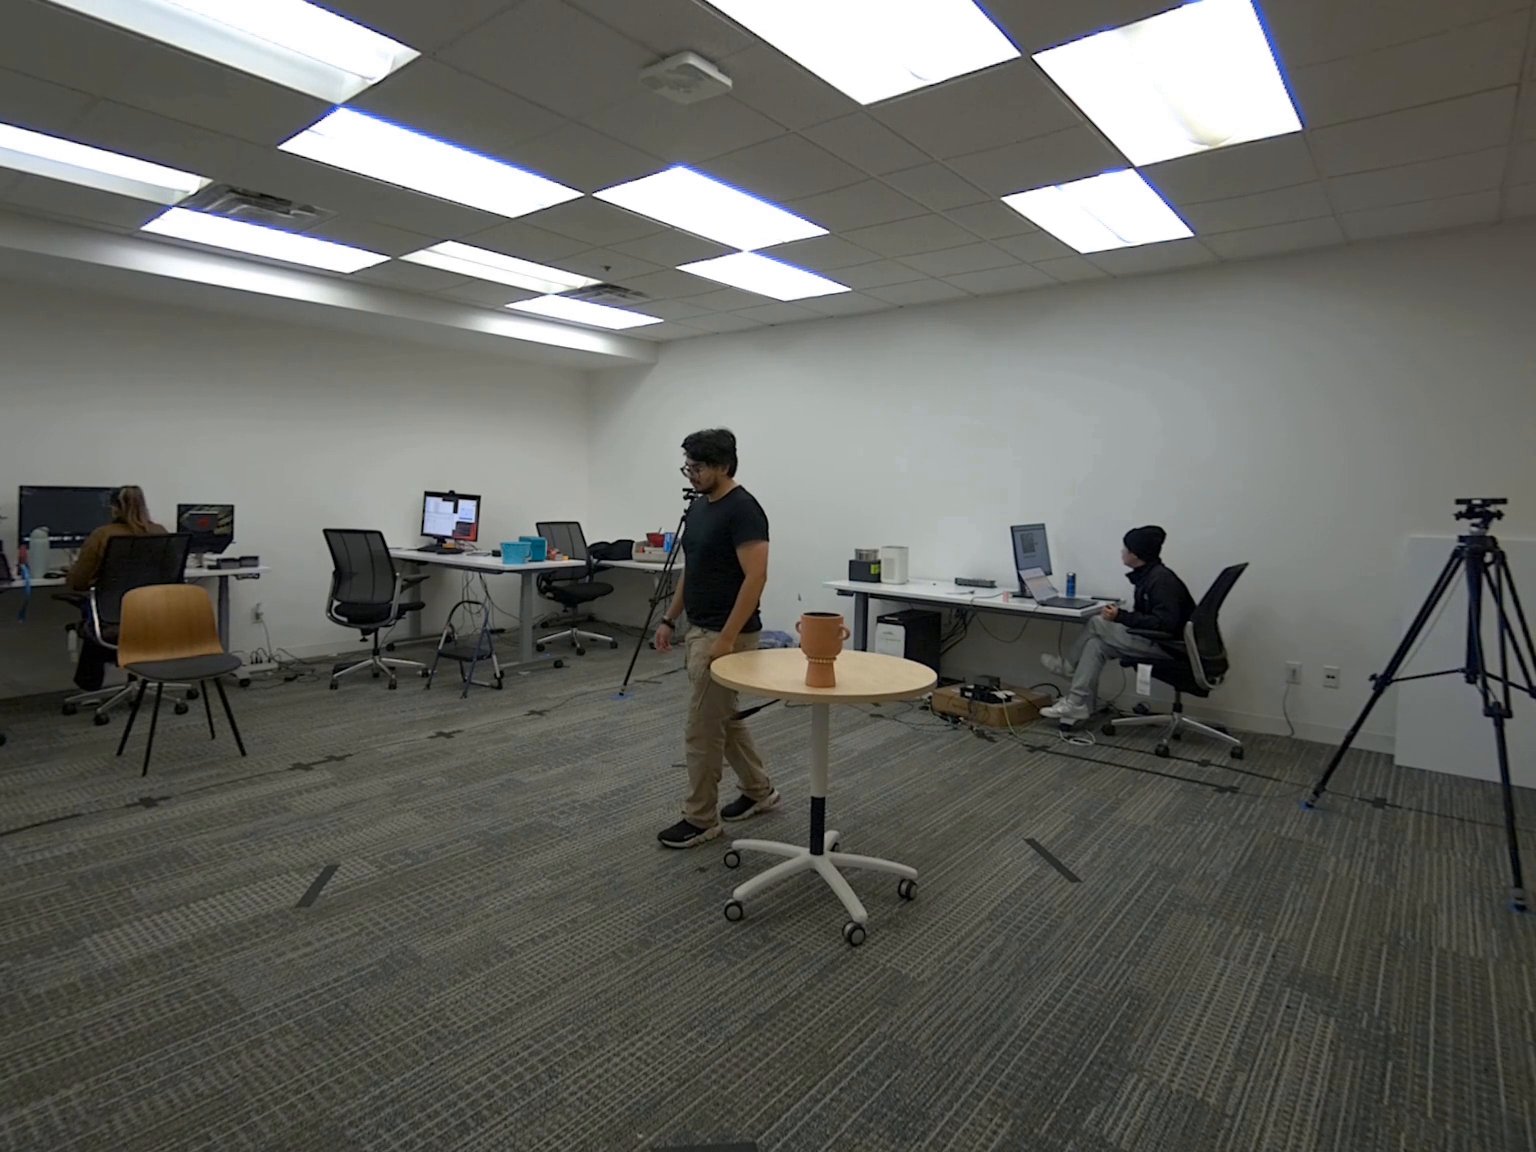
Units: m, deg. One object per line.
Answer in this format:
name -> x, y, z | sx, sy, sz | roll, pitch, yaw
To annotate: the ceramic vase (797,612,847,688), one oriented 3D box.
ceramic vase -> 0.162, 0.231, 2.661 | 0.133, 0.219, 0.161 | 2, 3, -14
